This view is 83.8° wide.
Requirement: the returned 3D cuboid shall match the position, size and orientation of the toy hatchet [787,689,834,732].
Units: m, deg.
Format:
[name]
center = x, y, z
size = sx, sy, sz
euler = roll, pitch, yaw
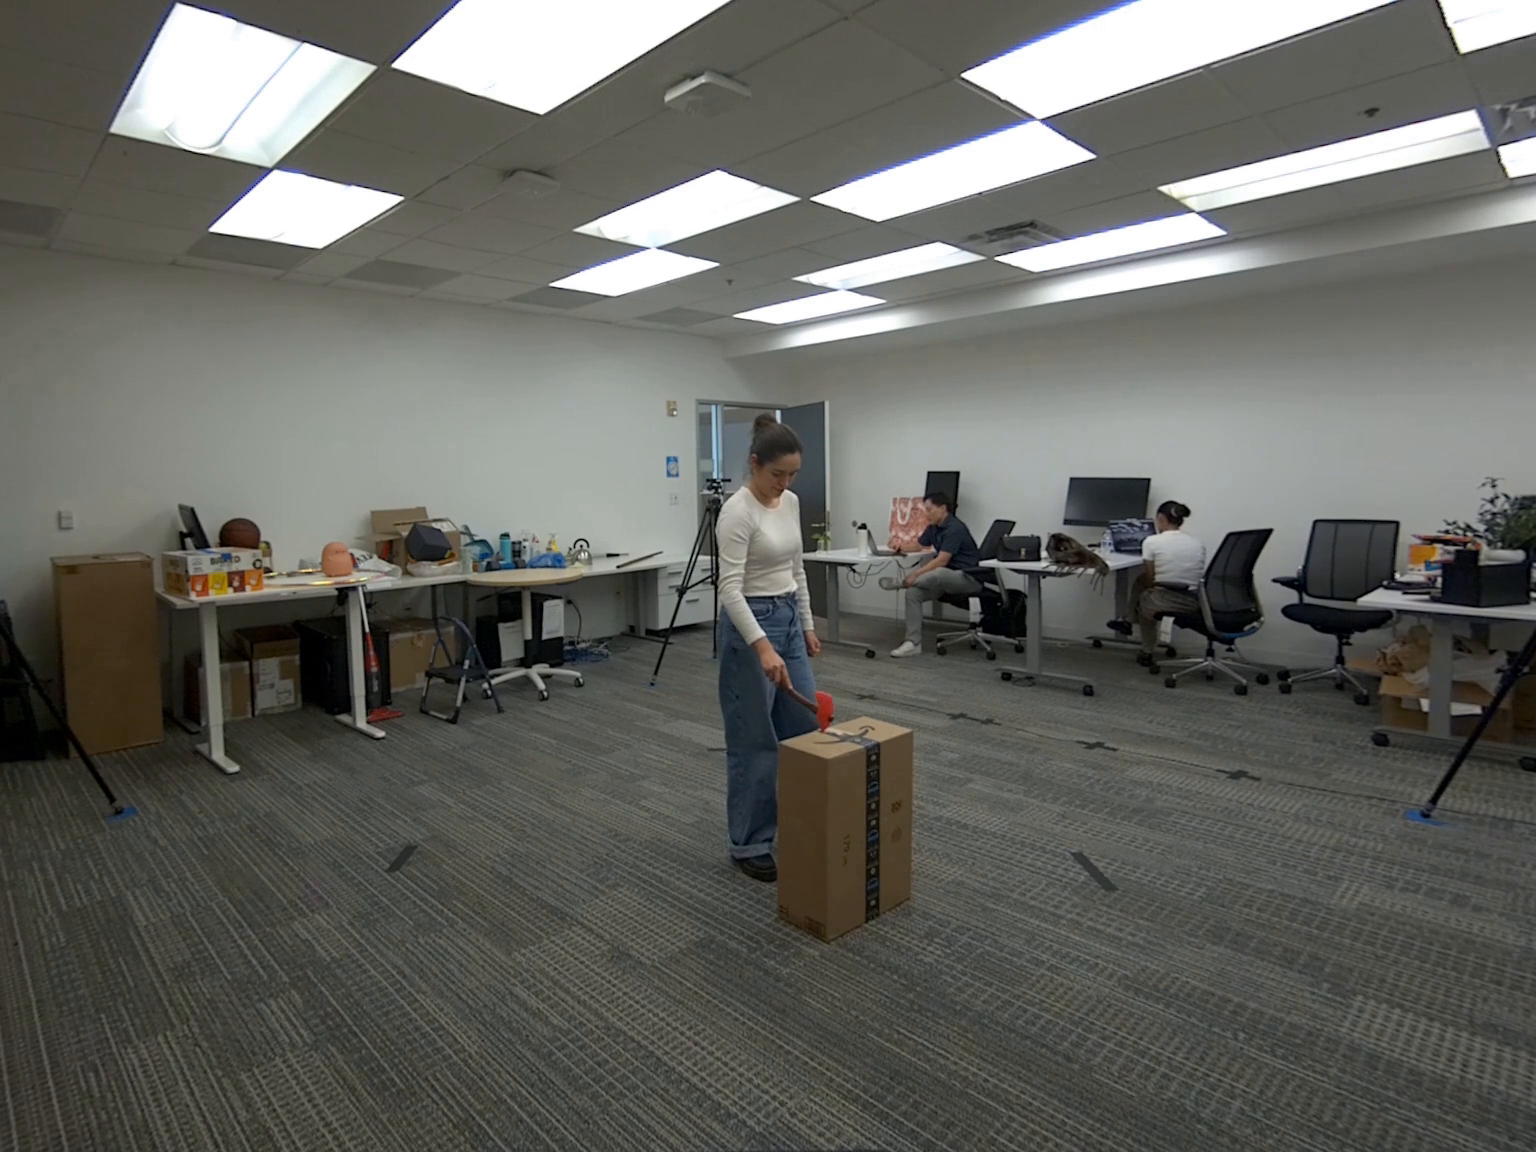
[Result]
[toy hatchet]
center = 0.120, 0.366, 2.672
size = 0.029, 0.129, 0.279
euler = -12, 49, -44
